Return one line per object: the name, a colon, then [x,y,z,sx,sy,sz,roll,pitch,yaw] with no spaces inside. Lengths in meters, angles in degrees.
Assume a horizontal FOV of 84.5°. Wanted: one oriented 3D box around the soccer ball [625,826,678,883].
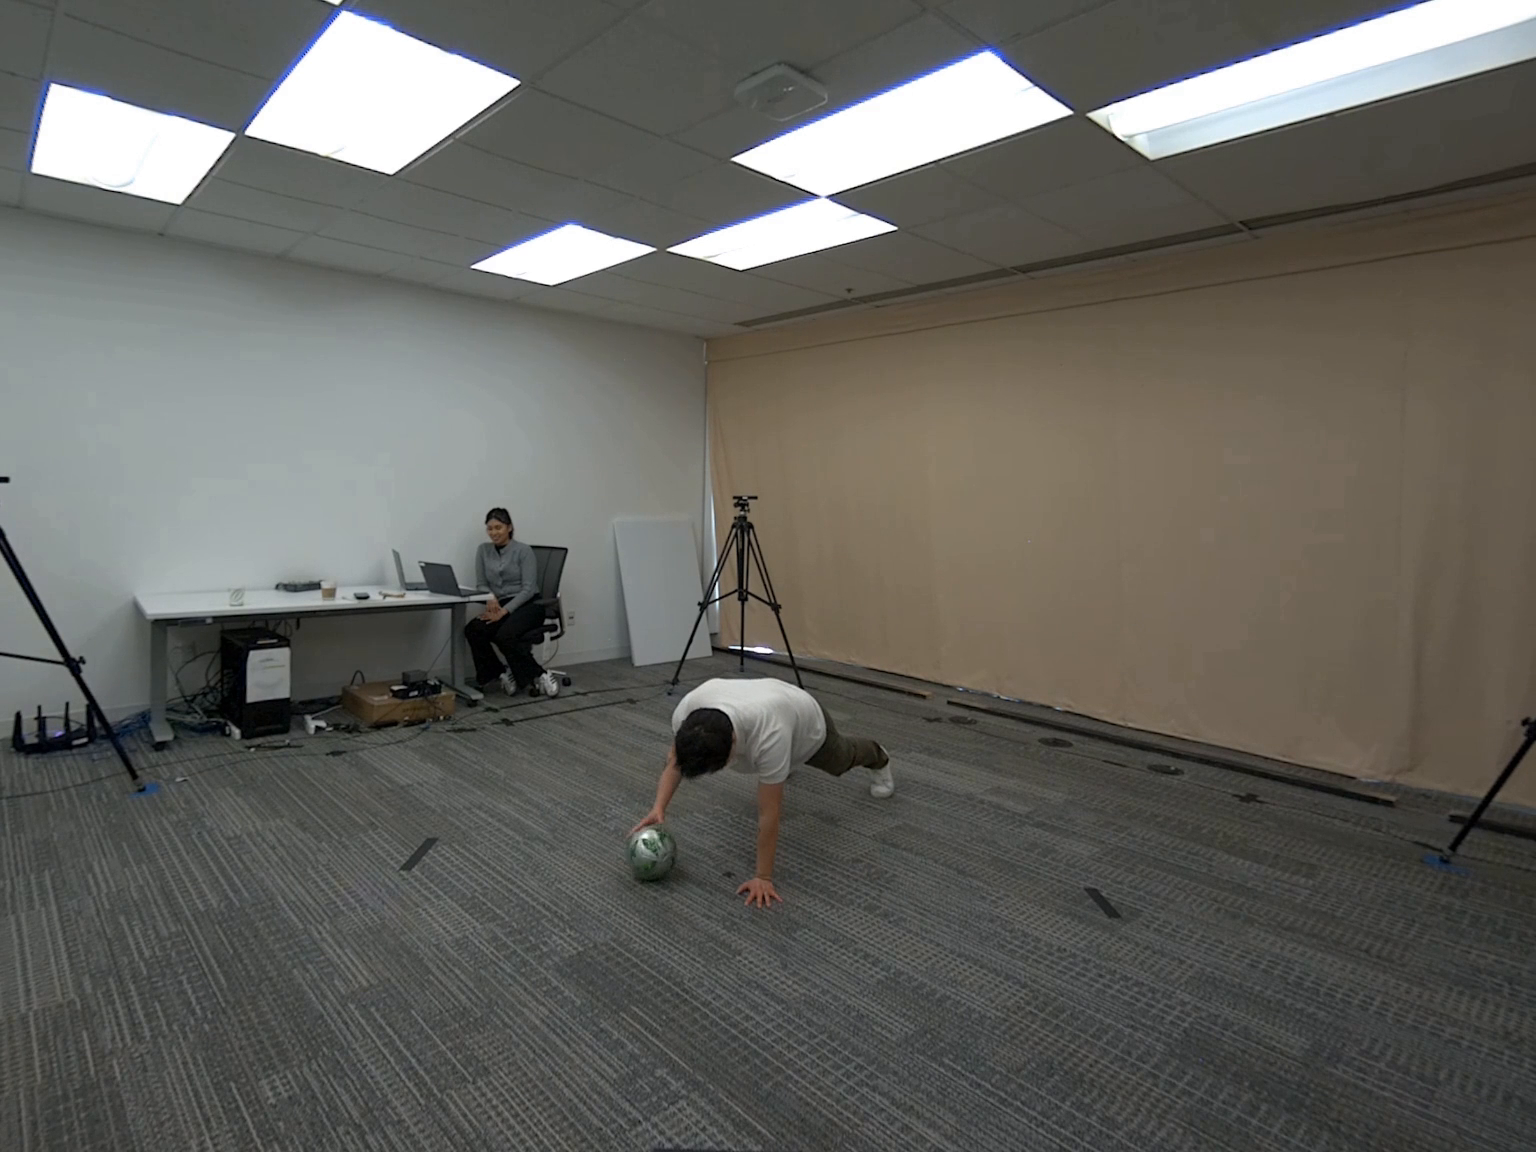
soccer ball: [-0.433,0.999,3.068,0.187,0.187,0.188,1,4,-1]
